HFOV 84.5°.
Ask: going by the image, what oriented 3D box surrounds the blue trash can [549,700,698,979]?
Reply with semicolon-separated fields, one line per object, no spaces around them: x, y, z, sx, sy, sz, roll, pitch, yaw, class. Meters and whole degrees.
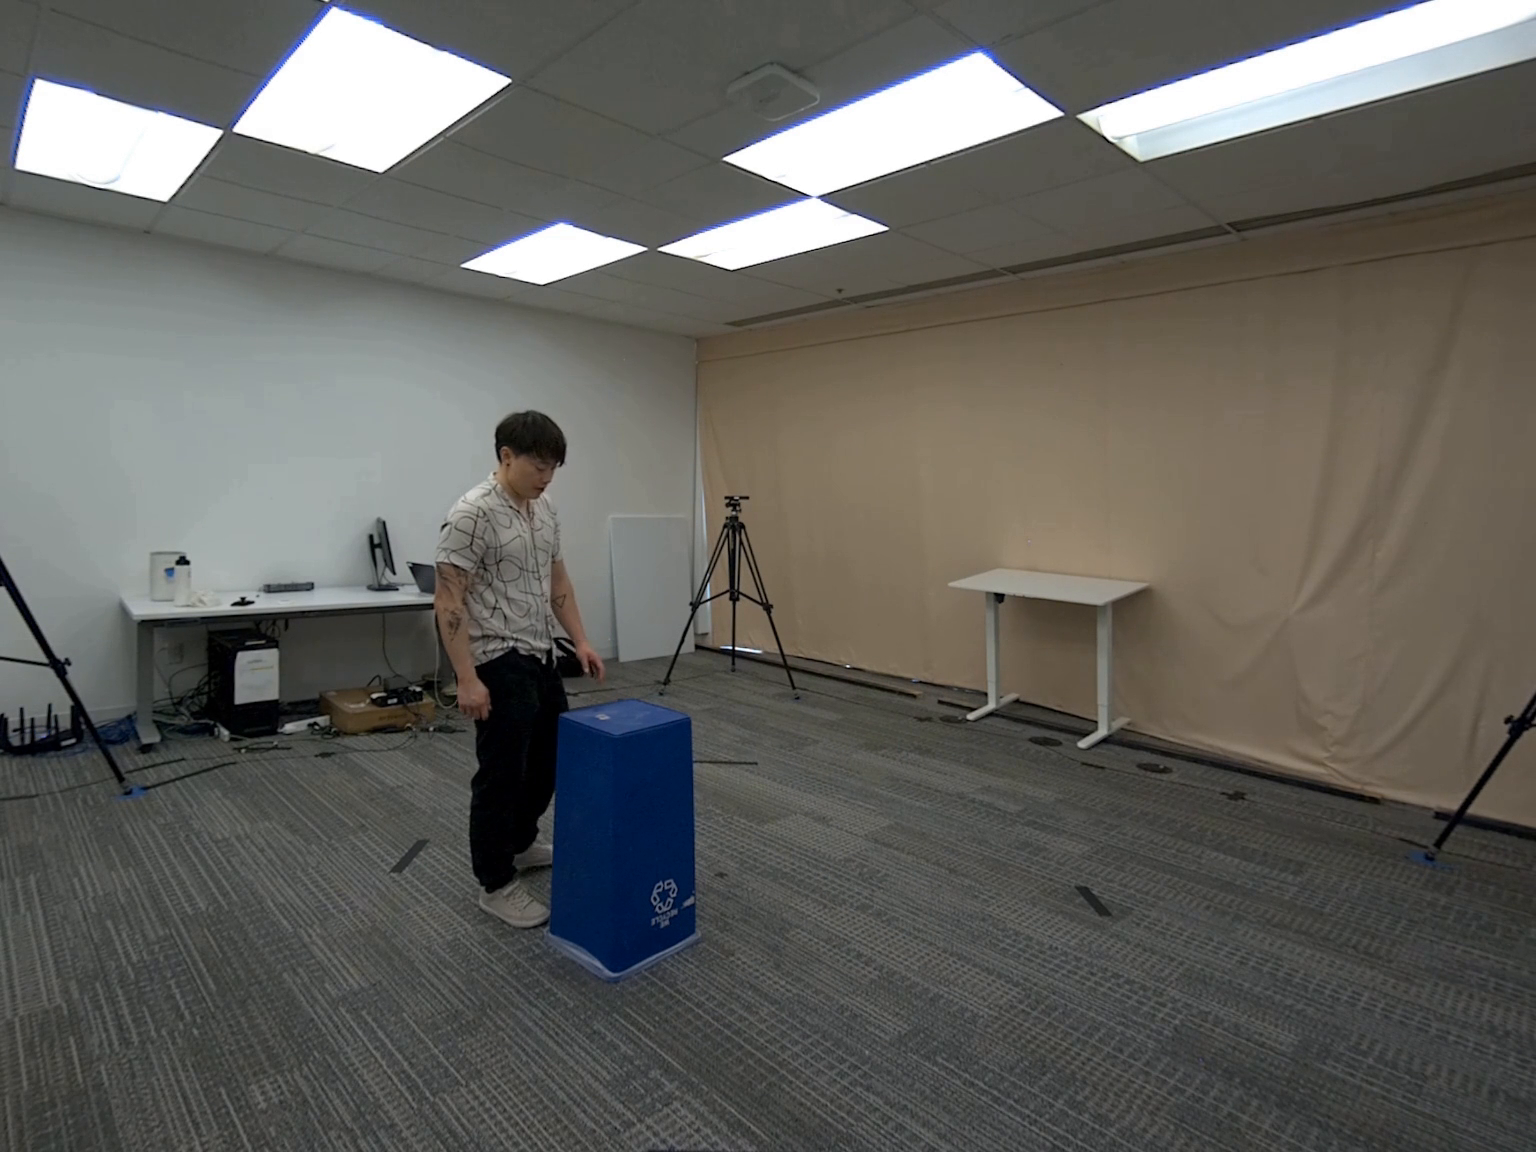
-0.461;0.787;2.618;0.388;0.711;0.366;5;5;43;blue trash can
